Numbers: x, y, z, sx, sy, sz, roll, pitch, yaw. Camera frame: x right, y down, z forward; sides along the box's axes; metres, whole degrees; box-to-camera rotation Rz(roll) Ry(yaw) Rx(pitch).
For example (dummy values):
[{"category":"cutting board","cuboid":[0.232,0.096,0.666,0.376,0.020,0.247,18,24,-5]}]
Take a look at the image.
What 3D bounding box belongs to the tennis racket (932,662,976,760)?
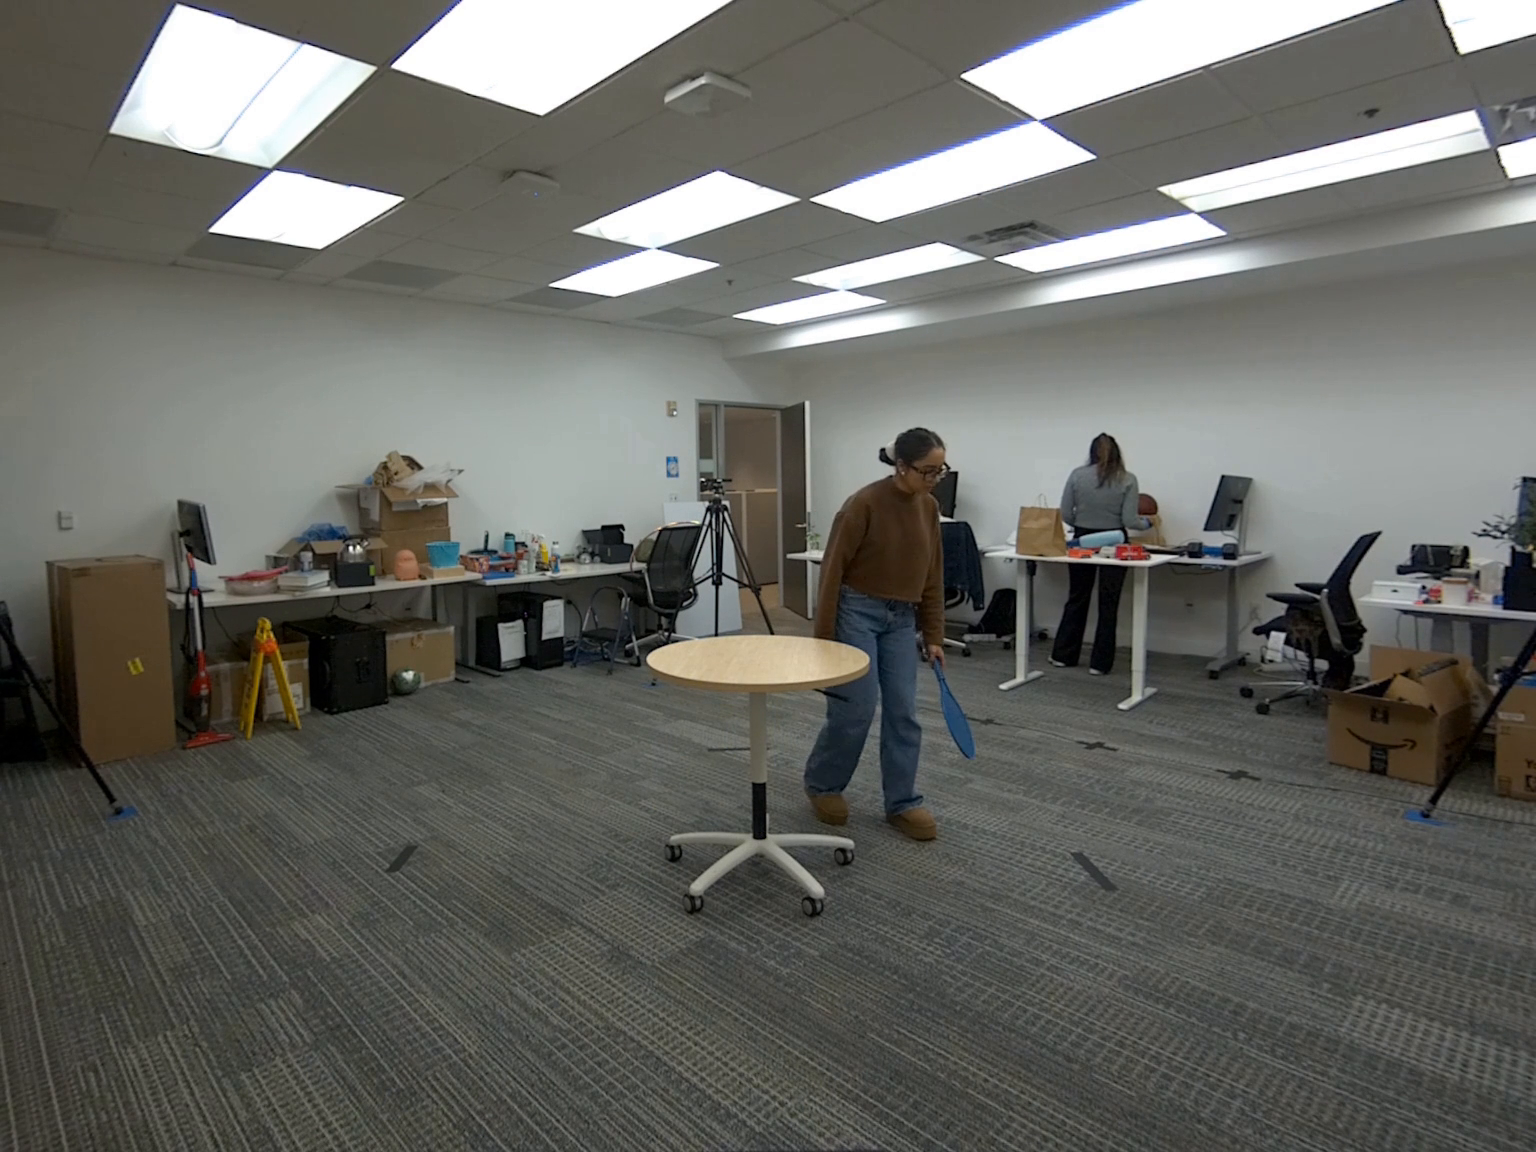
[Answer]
[{"category":"tennis racket","cuboid":[0.685,0.494,3.304,0.032,0.444,0.206,-30,-29,28]}]
